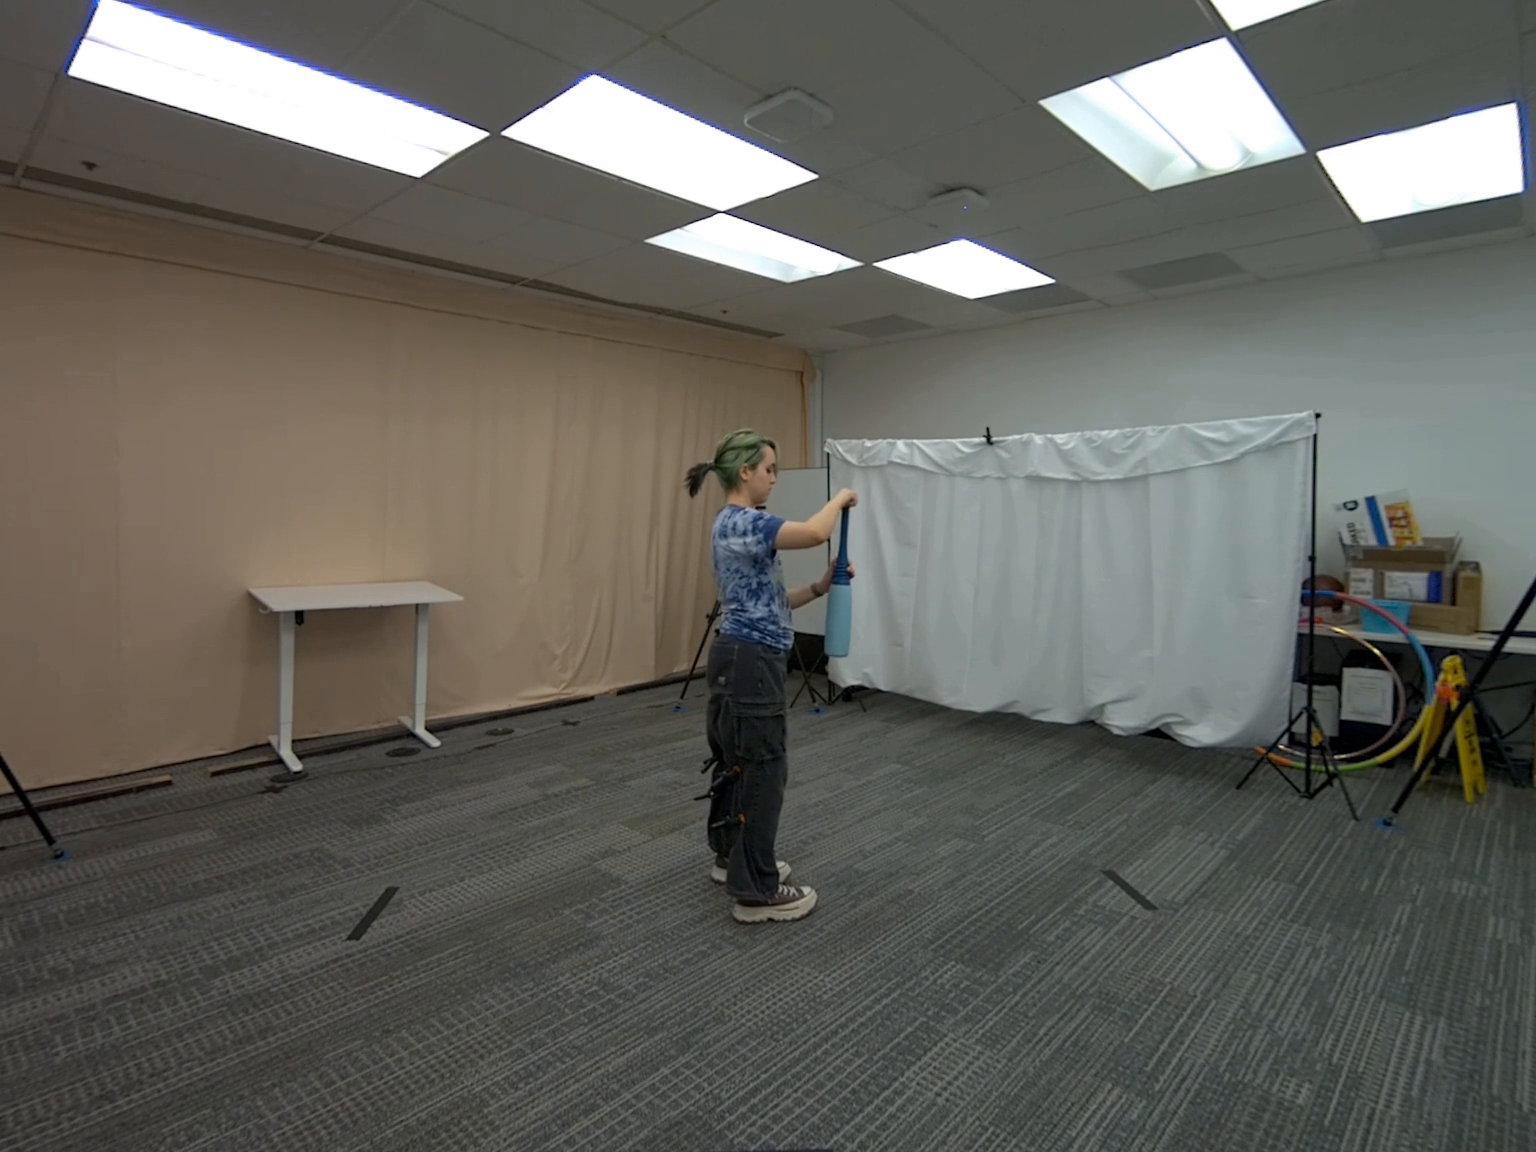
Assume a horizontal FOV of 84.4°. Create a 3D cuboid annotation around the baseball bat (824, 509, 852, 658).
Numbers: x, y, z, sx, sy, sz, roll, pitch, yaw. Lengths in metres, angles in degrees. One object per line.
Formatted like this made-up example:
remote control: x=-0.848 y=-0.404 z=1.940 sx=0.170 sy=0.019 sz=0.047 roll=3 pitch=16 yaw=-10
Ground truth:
baseball bat: x=0.253 y=0.007 z=2.902 sx=0.089 sy=0.542 sz=0.089 roll=4 pitch=3 yaw=-2
